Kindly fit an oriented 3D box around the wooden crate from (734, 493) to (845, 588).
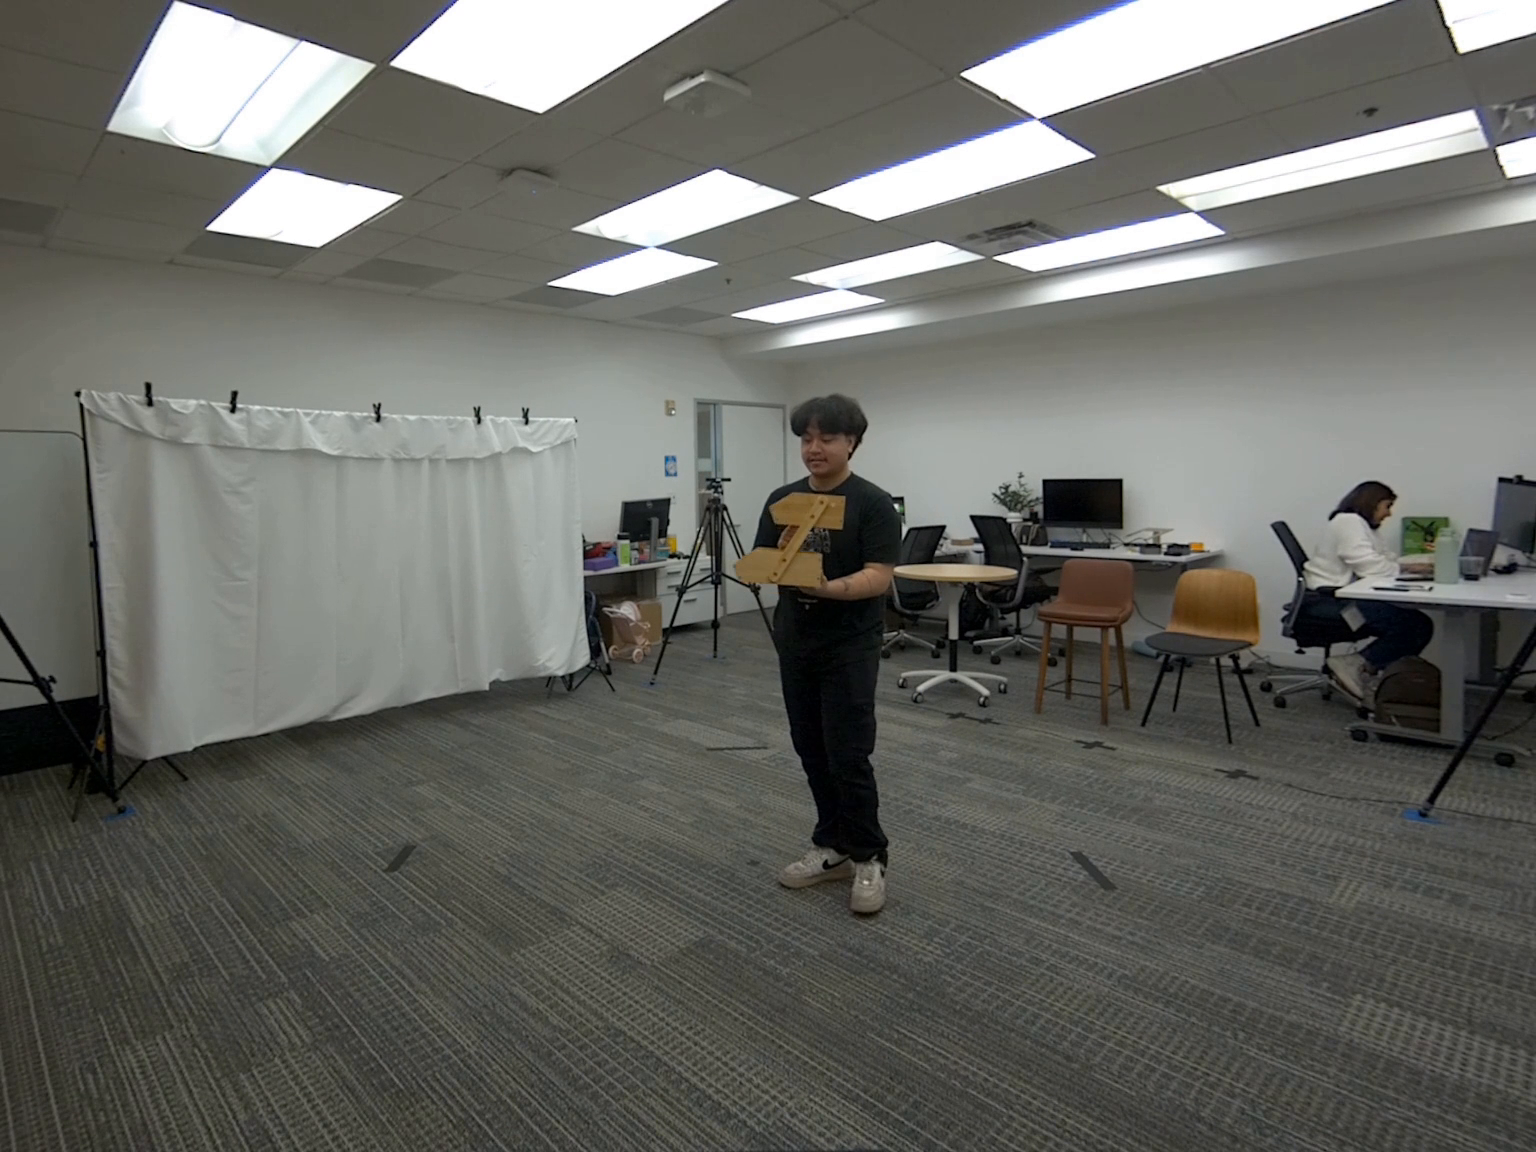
[{"bbox_3d":[0.056,-0.118,2.551,0.303,0.273,0.324,5,2,1],"label":"wooden crate"}]
